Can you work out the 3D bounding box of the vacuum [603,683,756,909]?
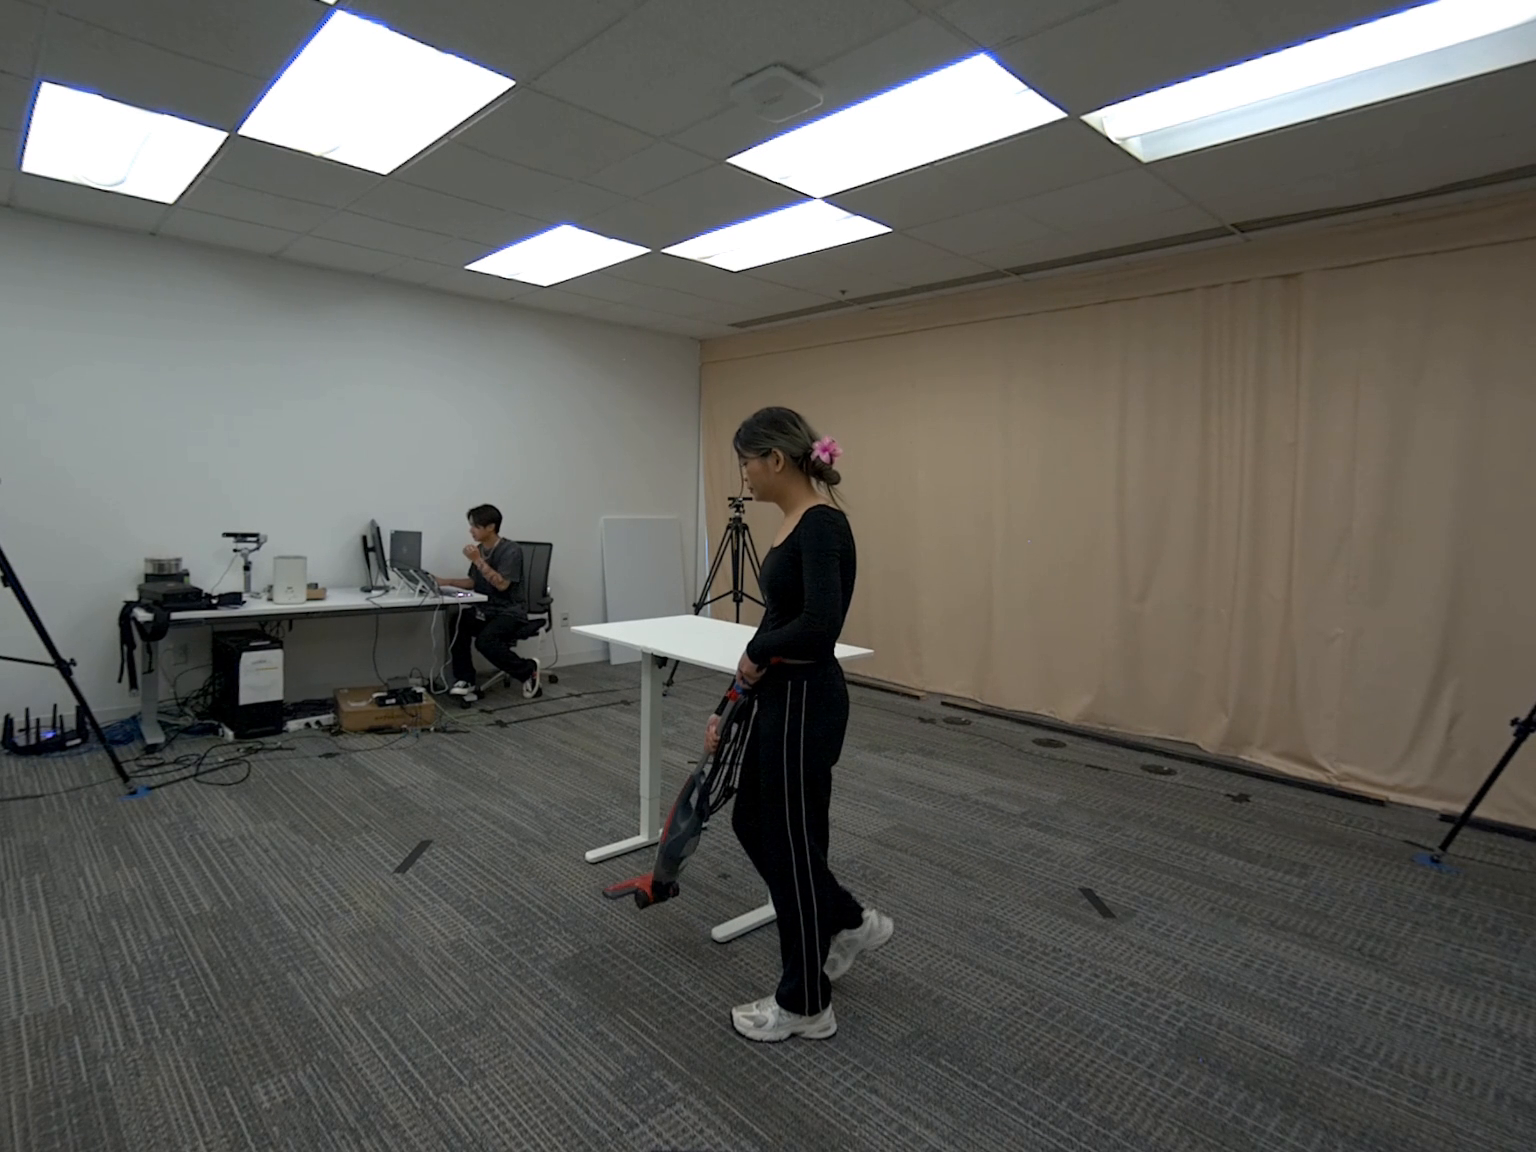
[{"bbox_3d":[-0.201,0.583,2.334,0.248,1.039,0.148,-13,46,-45],"label":"vacuum"}]
